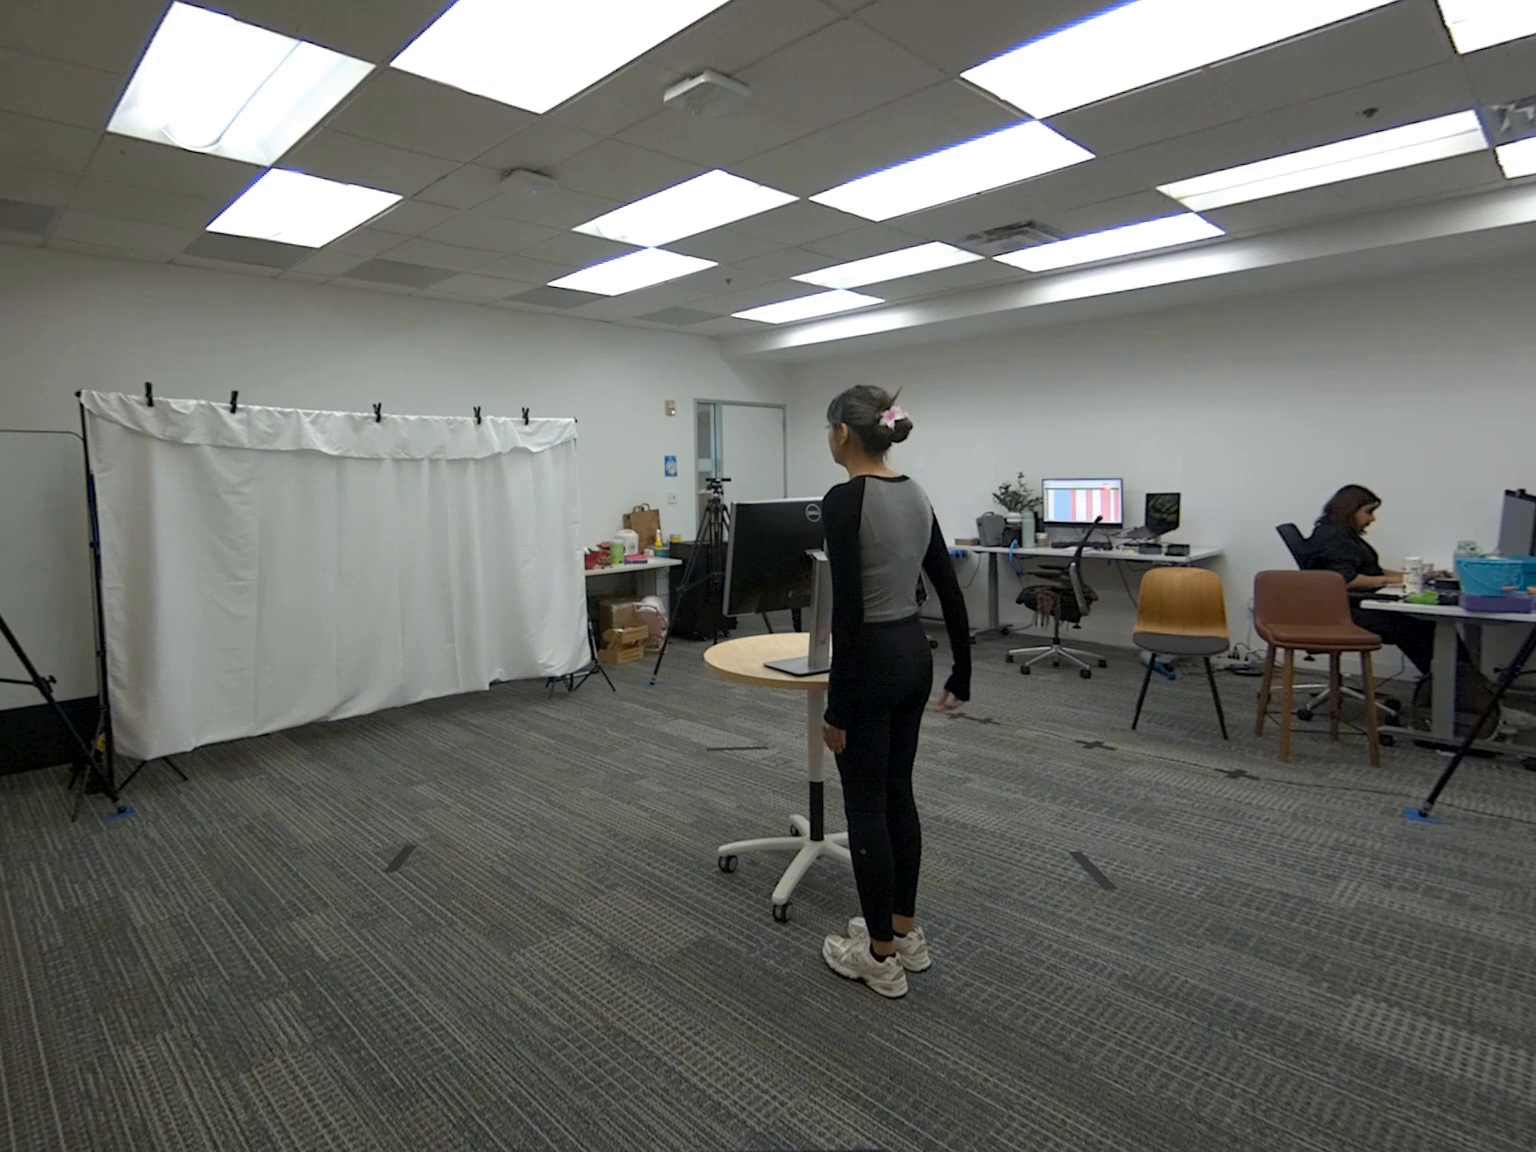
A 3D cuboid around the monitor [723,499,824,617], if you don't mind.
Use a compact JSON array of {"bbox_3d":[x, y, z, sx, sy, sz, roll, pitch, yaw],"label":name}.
[{"bbox_3d":[0.137,0.025,2.719,0.526,0.521,0.192,-4,4,-33],"label":"monitor"}]
